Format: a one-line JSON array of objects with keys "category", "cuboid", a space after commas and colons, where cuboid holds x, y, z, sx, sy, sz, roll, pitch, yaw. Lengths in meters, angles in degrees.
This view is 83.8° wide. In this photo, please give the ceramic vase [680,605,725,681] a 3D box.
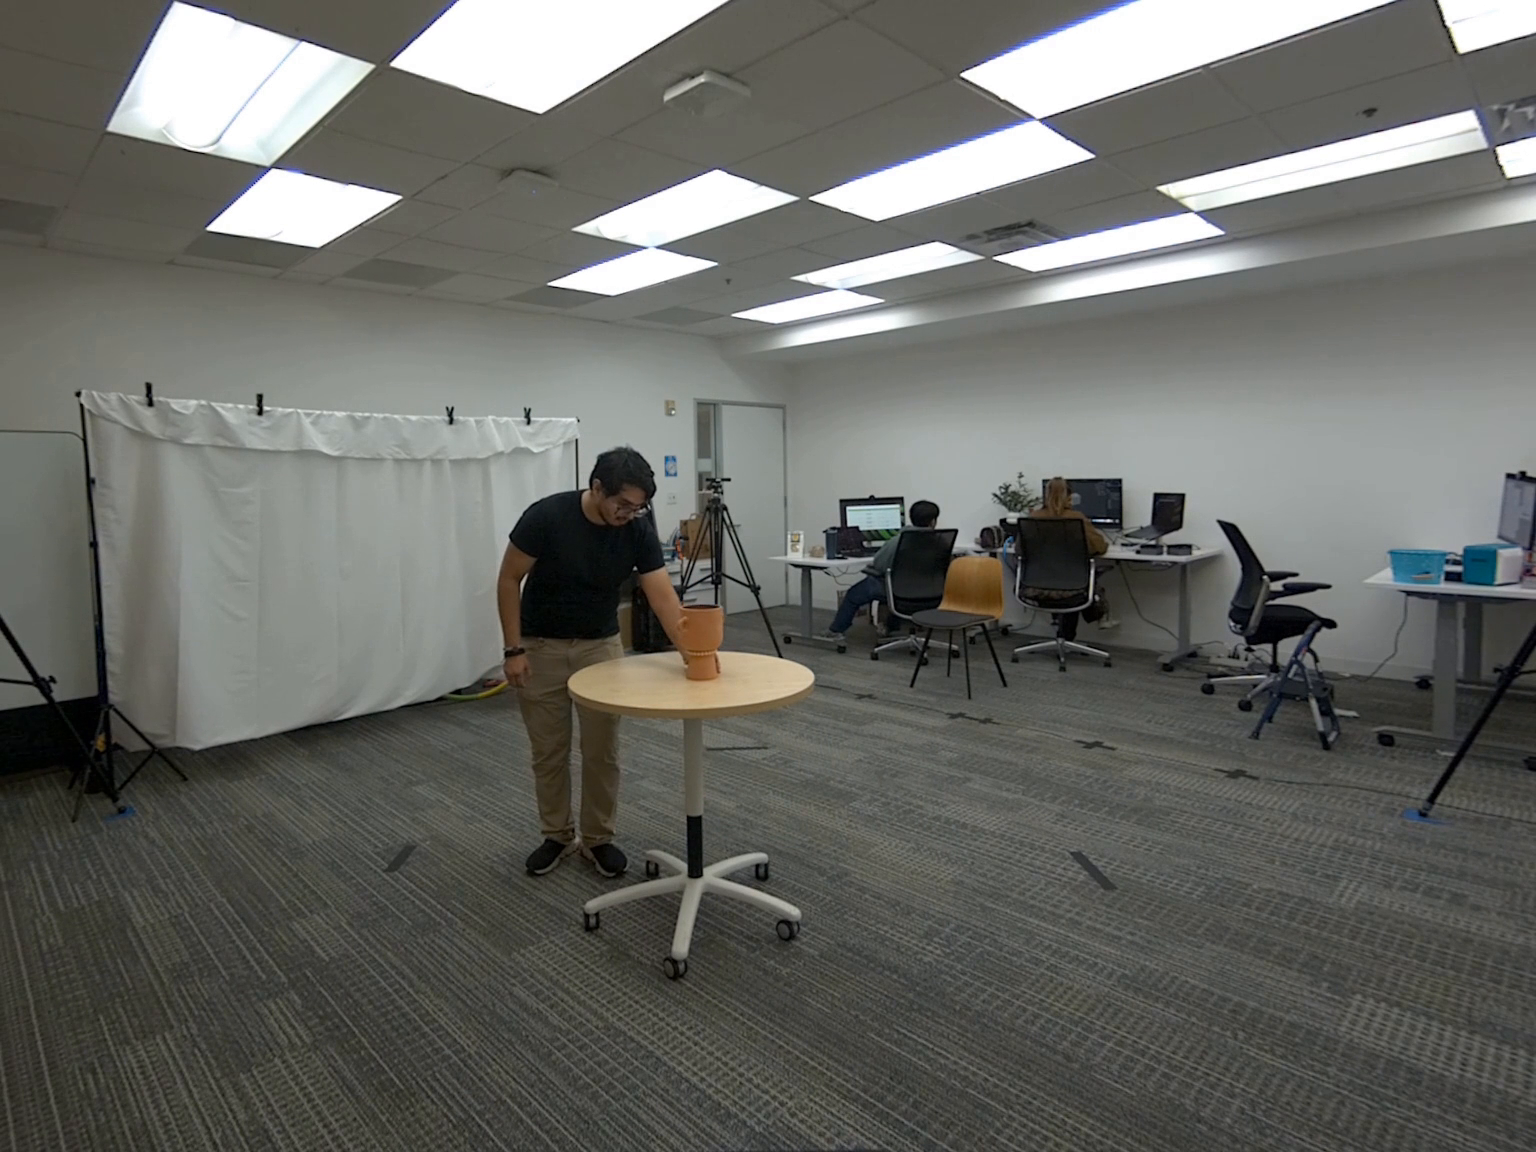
[{"category": "ceramic vase", "cuboid": [-0.199, 0.203, 2.645, 0.158, 0.219, 0.136, -2, 5, -7]}]
